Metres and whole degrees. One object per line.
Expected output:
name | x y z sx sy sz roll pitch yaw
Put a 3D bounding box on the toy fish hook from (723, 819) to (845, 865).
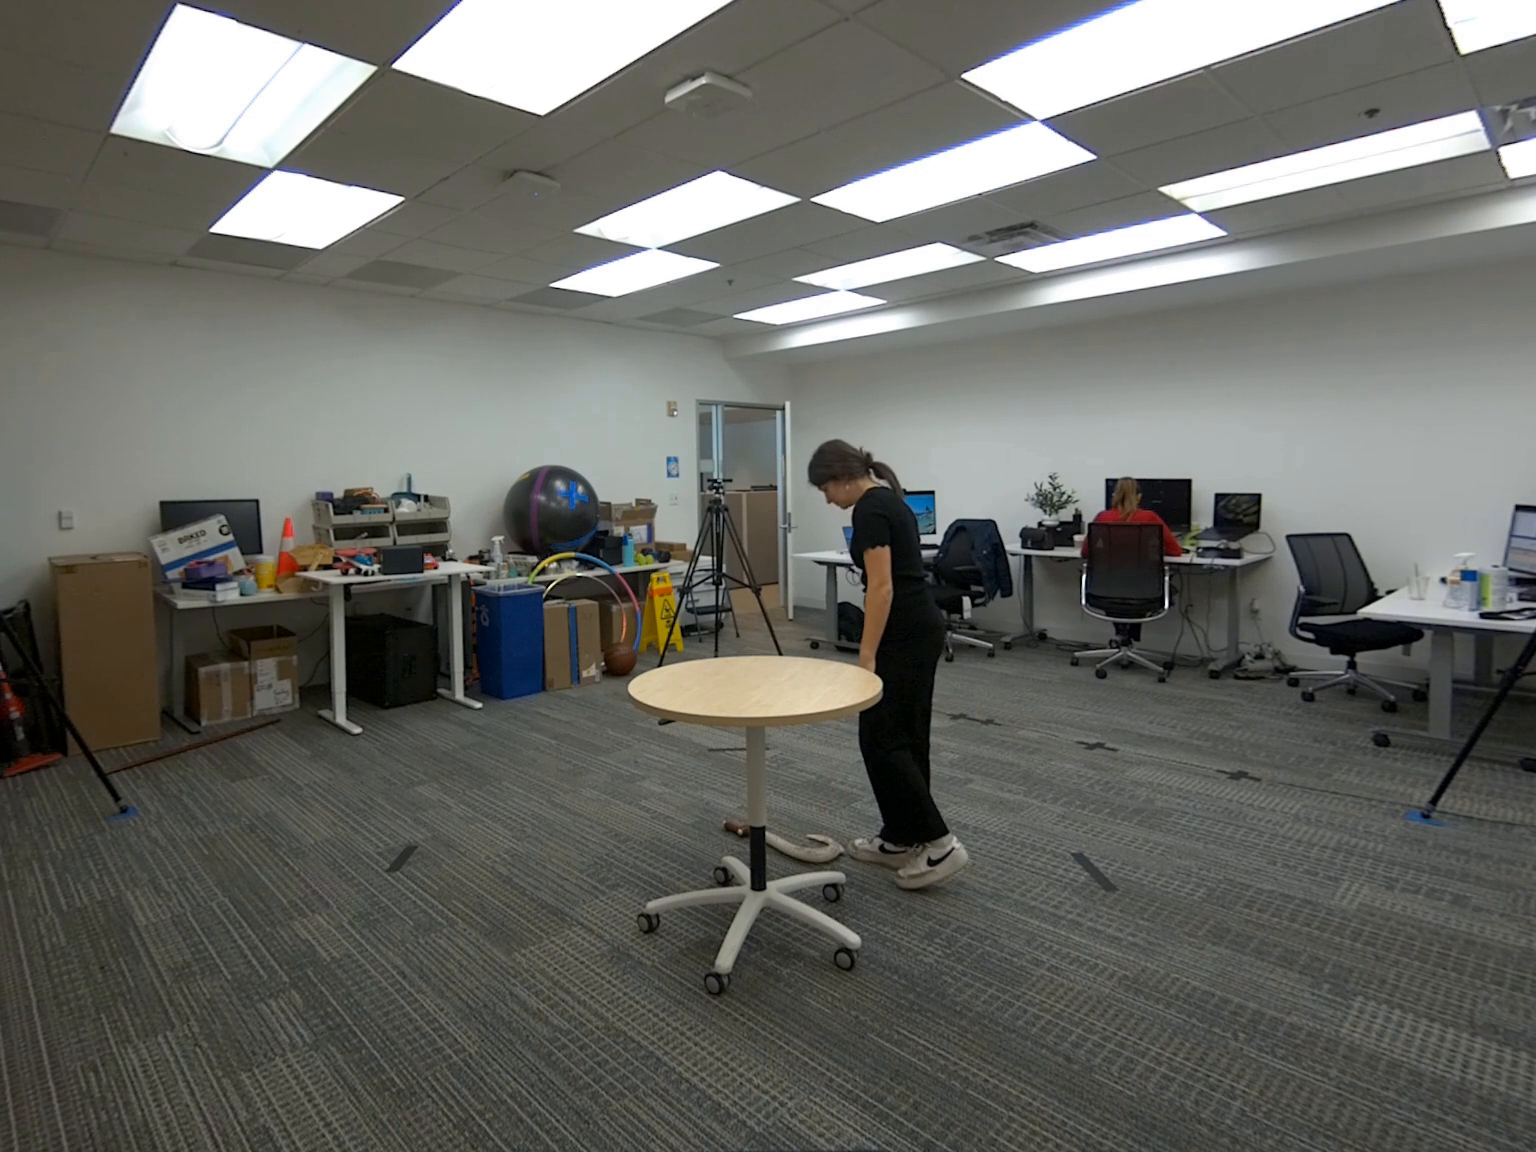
toy fish hook | 0.058 1.008 3.289 0.522 0.048 0.217 6 0 40
